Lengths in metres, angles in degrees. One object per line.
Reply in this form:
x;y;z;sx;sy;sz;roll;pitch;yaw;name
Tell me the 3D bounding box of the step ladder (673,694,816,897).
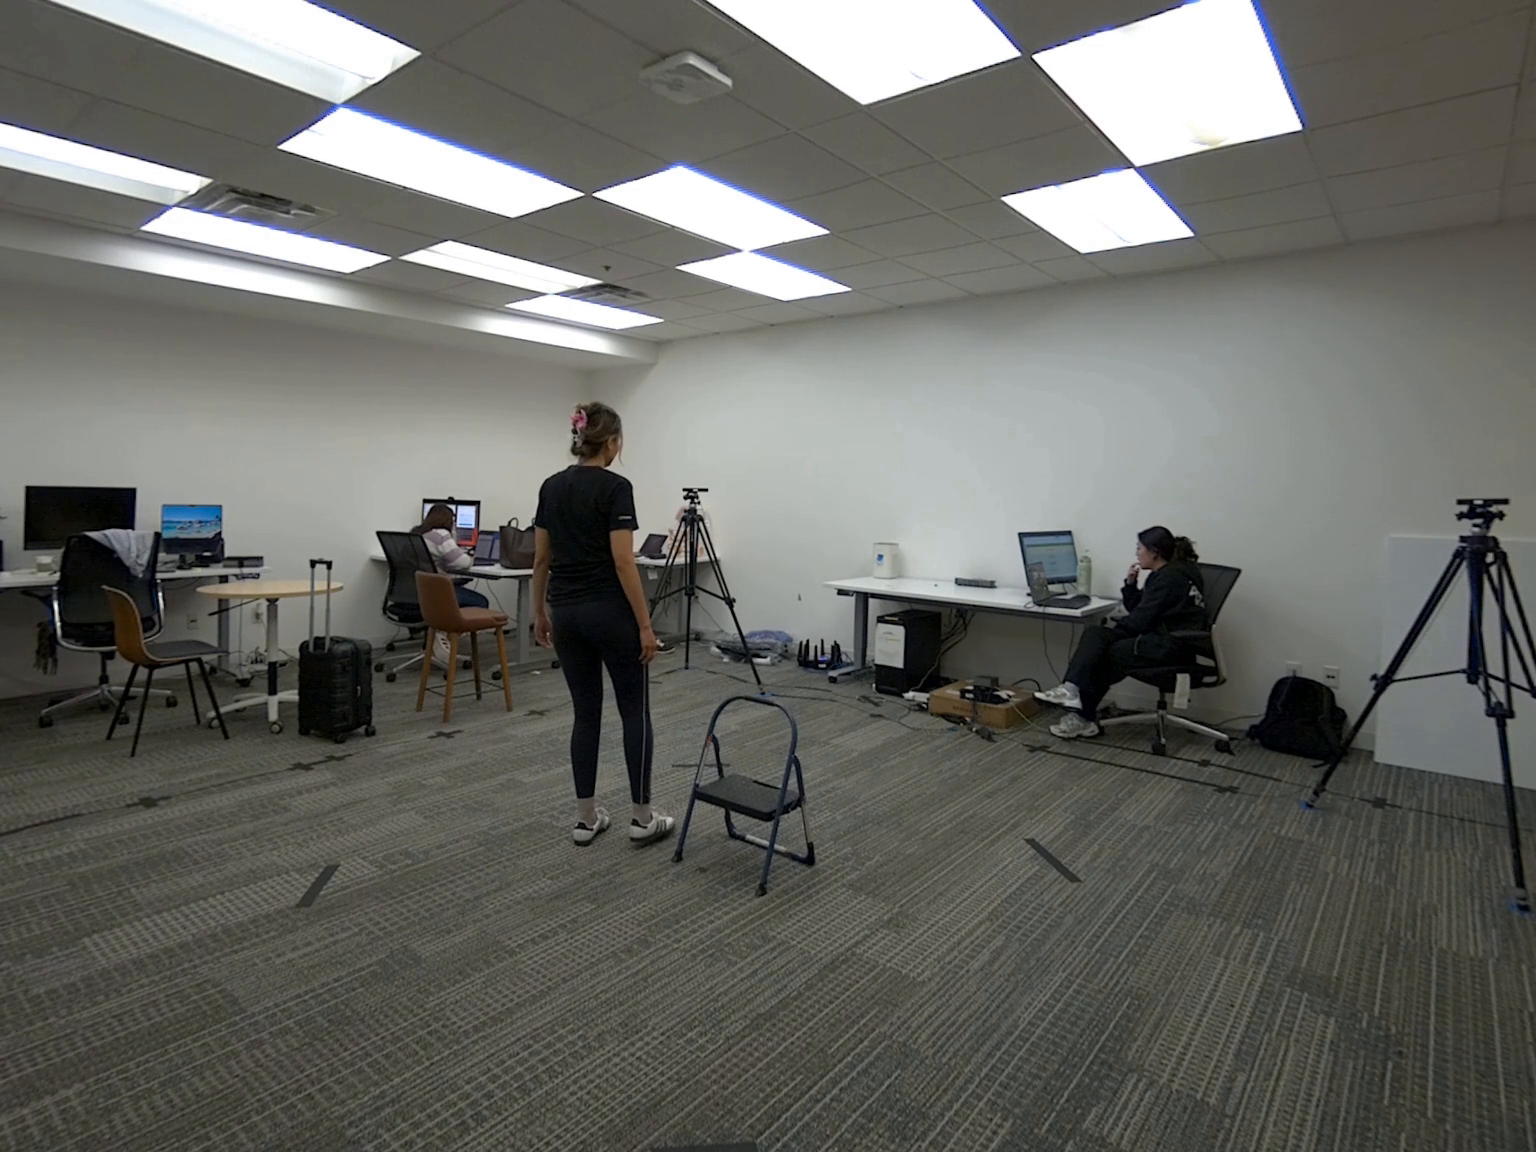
-0.088;0.763;3.159;0.445;0.604;0.339;4;4;38;step ladder
